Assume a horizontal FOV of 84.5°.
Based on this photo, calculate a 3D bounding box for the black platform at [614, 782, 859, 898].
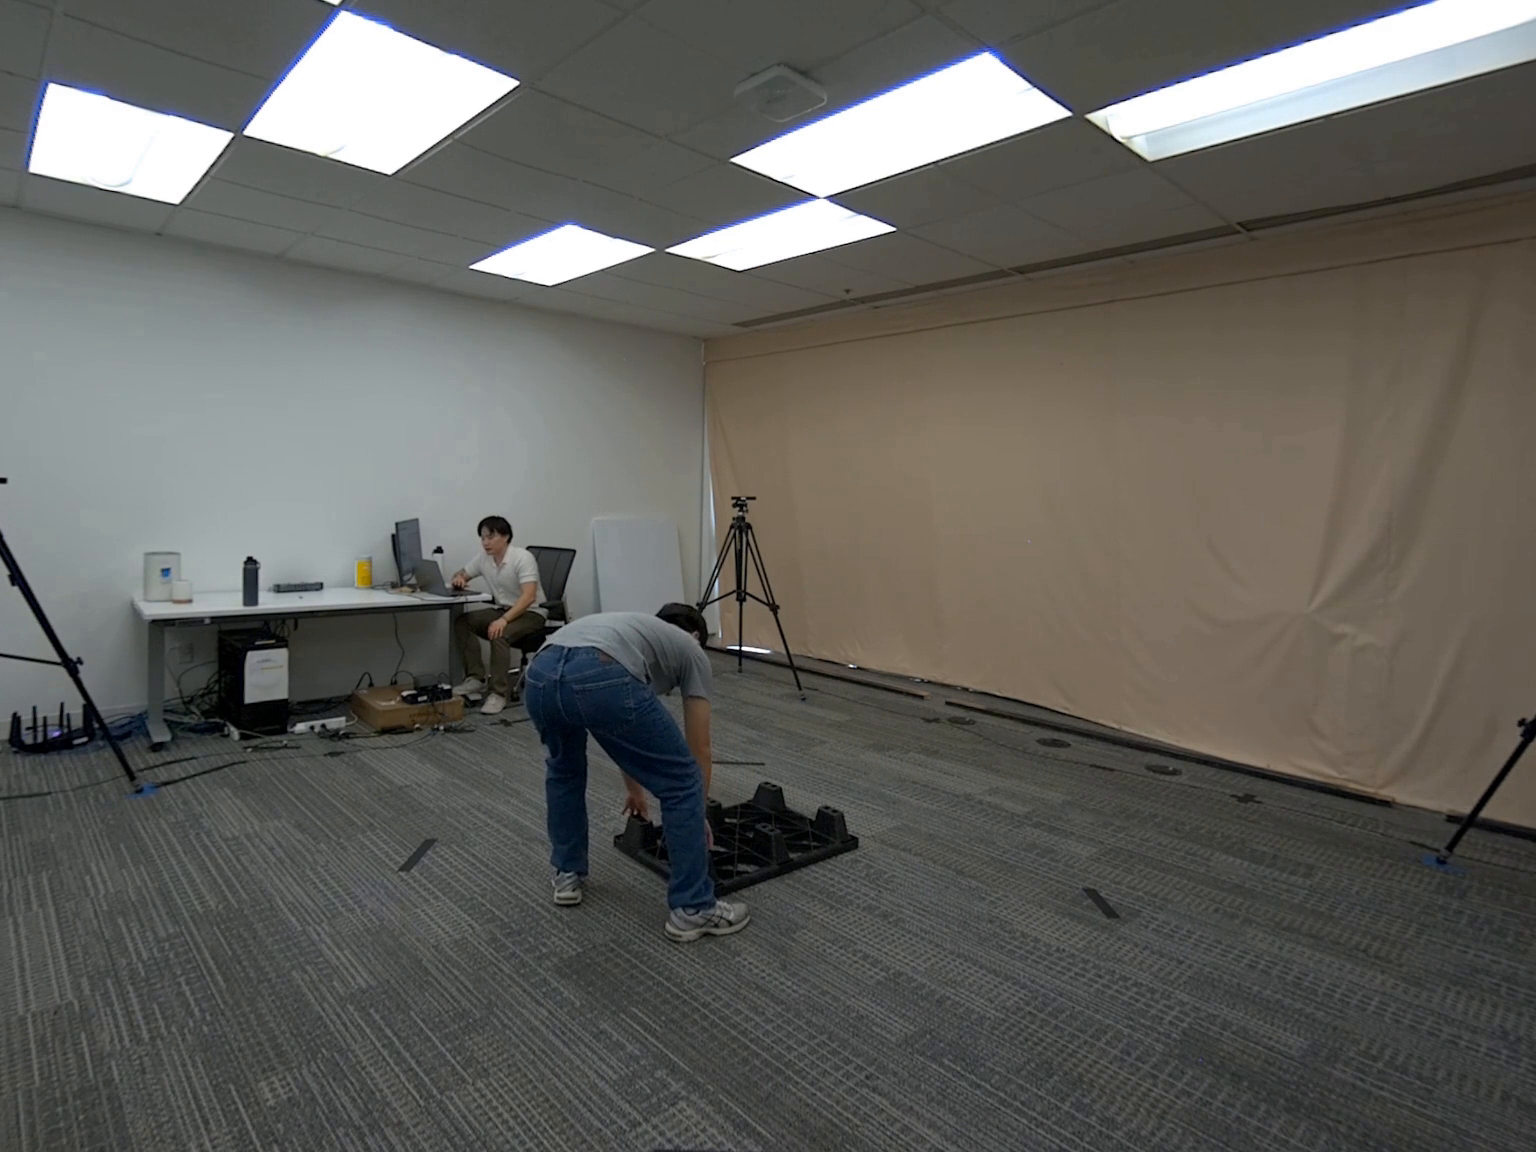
[{"bbox_3d":[-0.126,1.018,3.365,0.787,0.143,0.621,-3,7,-40],"label":"black platform"}]
